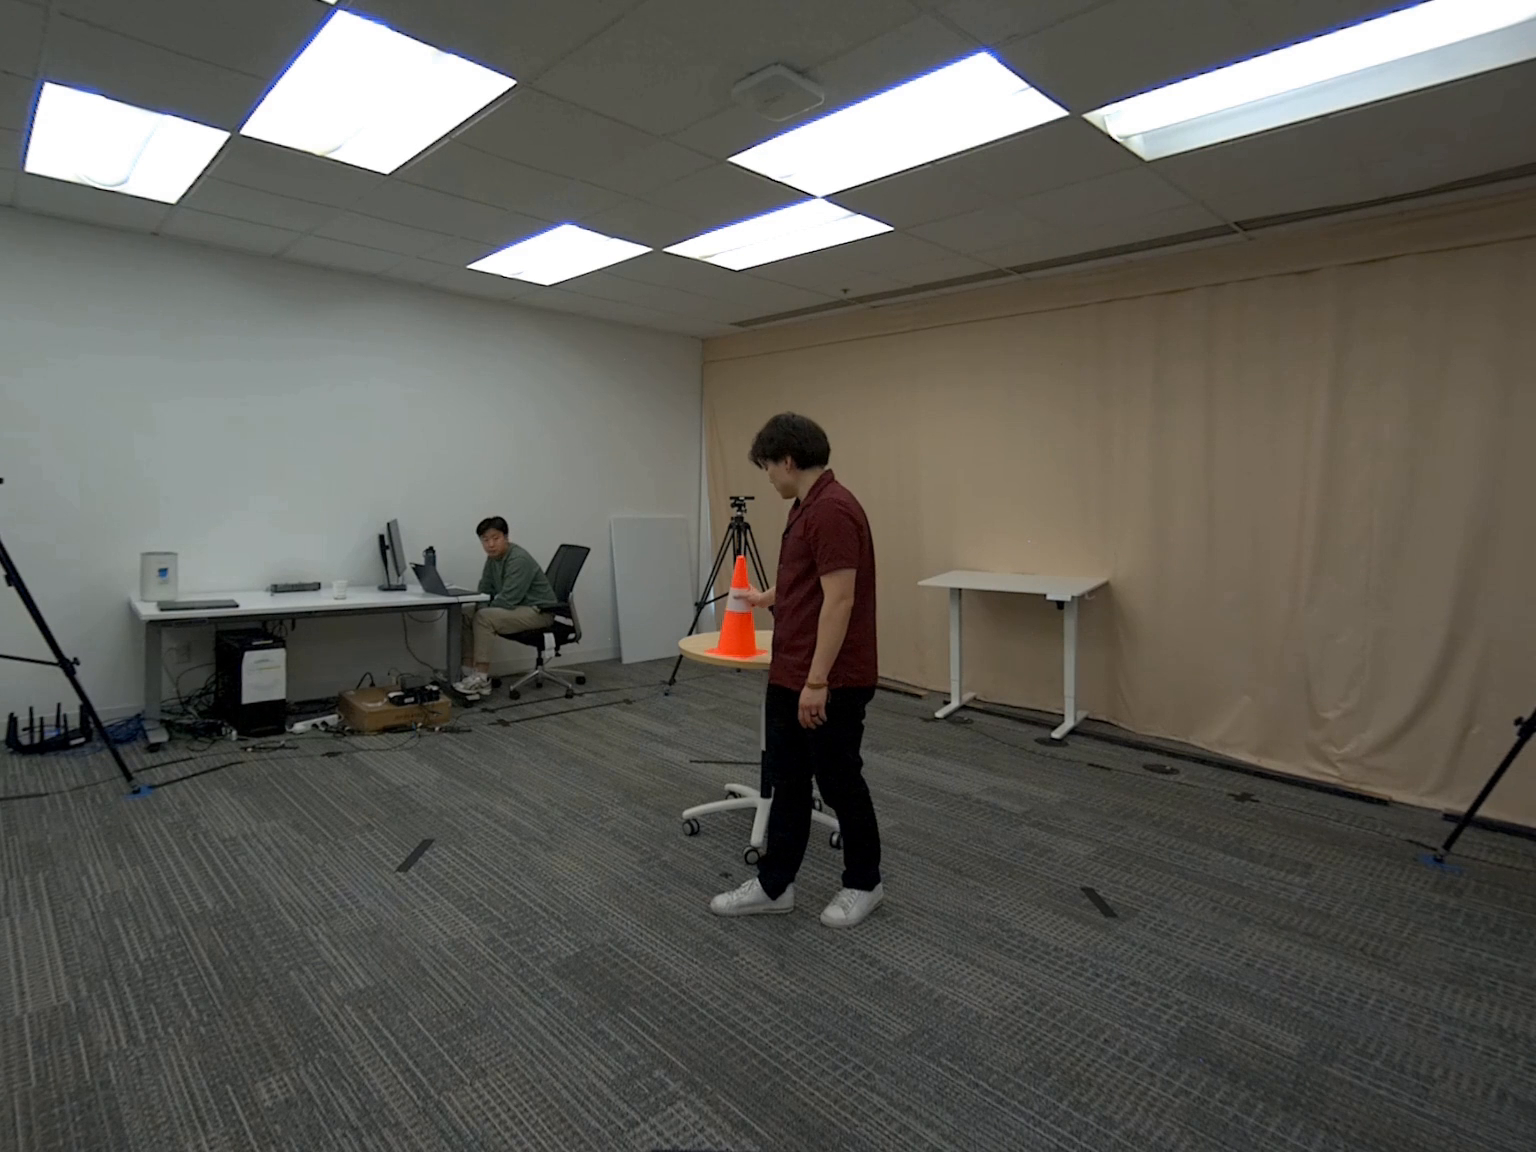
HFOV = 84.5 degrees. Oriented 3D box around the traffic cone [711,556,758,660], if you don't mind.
[{"bbox_3d":[-0.120,0.113,3.311,0.209,0.382,0.200,4,6,30],"label":"traffic cone"}]
